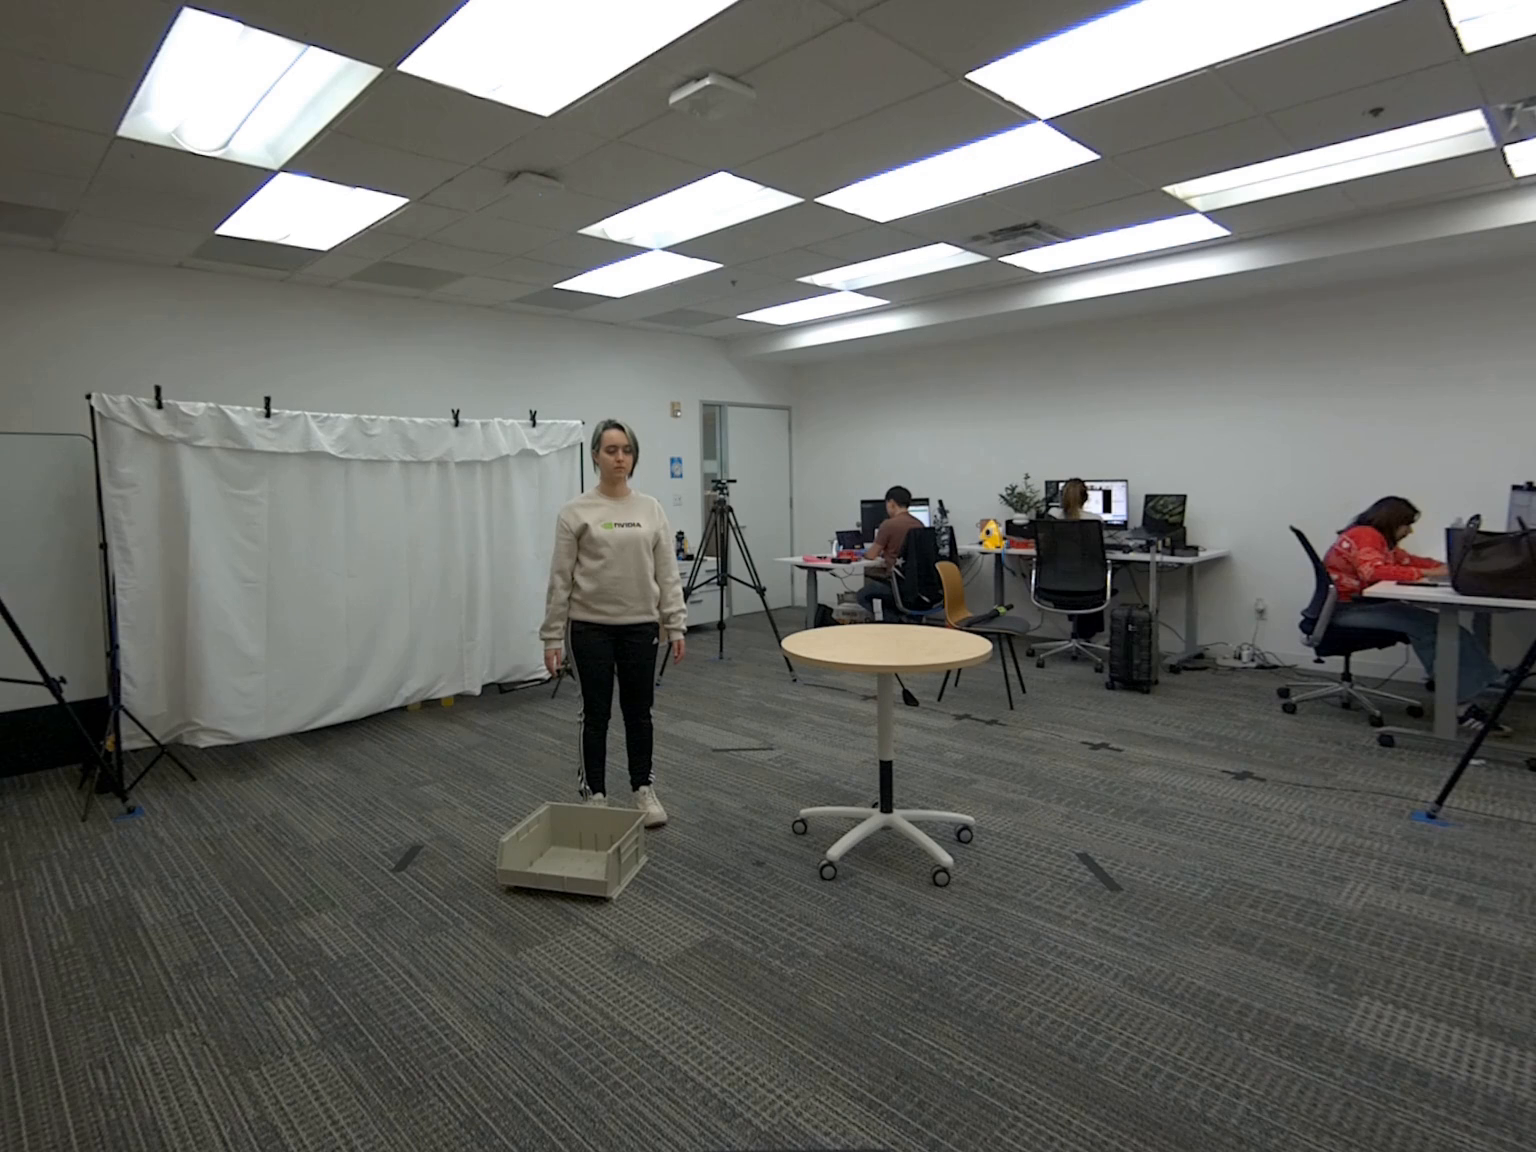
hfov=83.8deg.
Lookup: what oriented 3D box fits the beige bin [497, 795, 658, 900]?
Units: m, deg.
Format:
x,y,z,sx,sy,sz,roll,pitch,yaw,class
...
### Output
x,y,z,sx,sy,sz,roll,pitch,yaw,class
-0.691,0.983,3.041,0.429,0.188,0.373,0,6,15,beige bin
